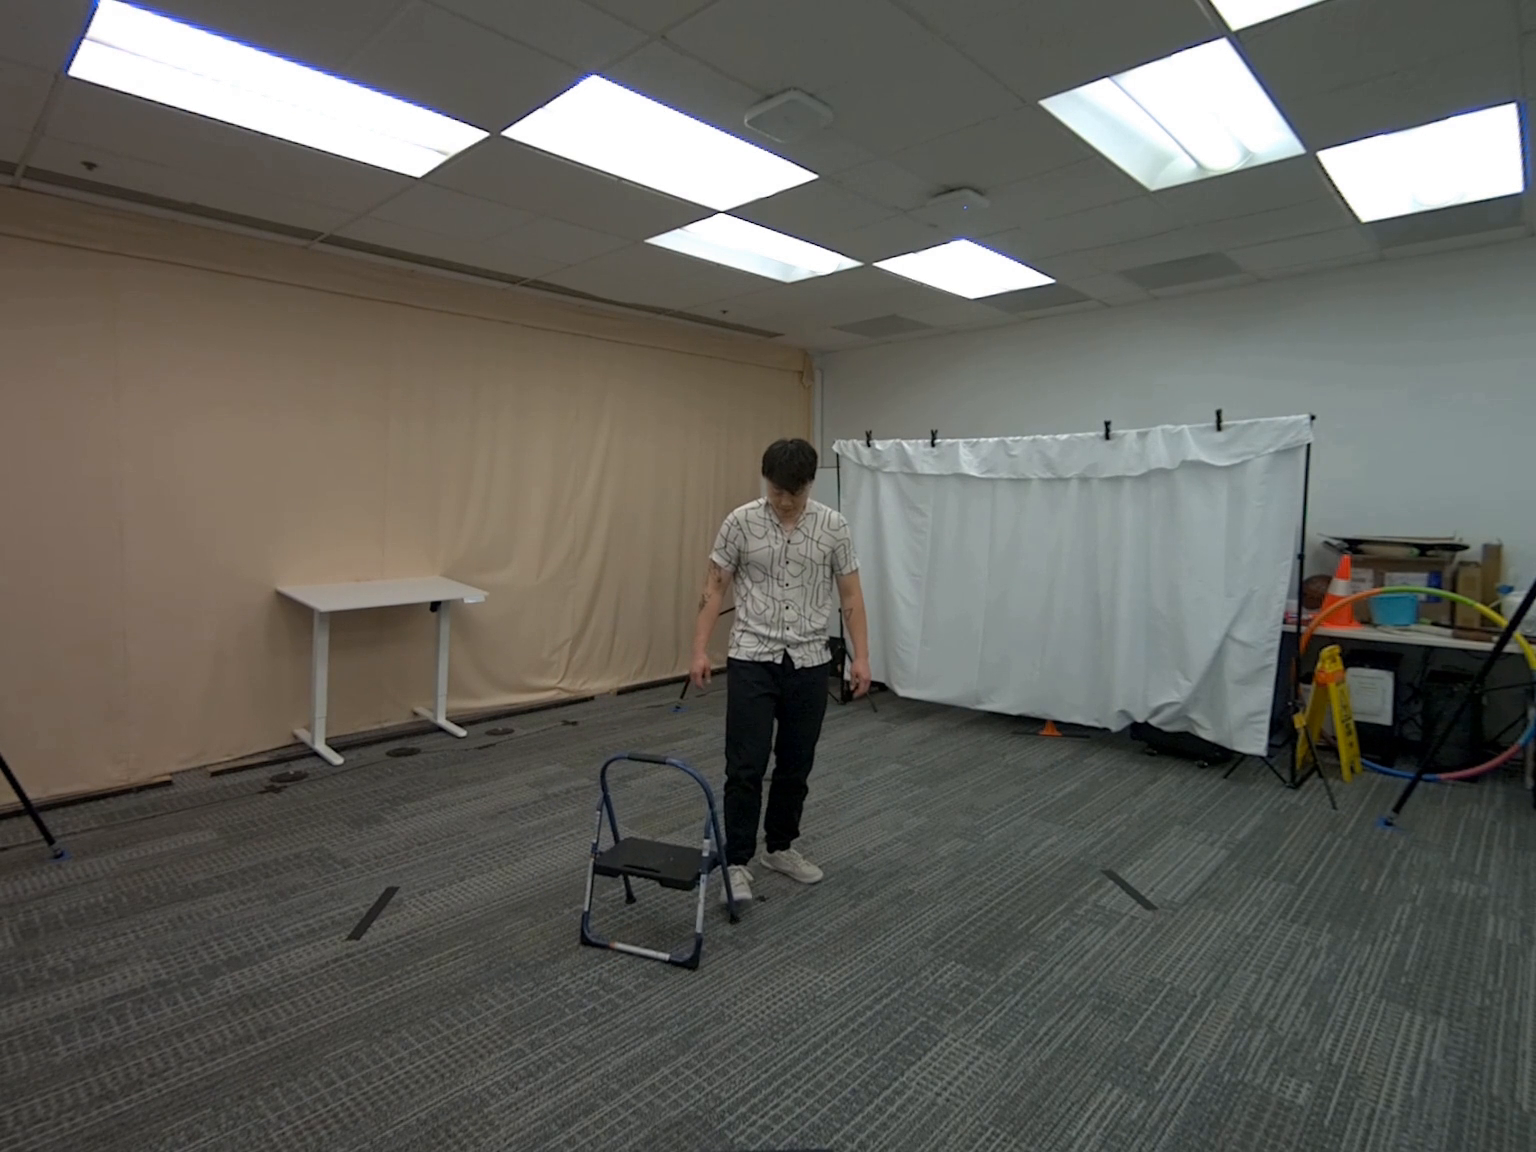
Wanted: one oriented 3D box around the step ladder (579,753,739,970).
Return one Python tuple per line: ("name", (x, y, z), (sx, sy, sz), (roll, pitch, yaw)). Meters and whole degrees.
("step ladder", (-0.353, 0.863, 2.736), (0.440, 0.605, 0.342), (1, 3, 21))
